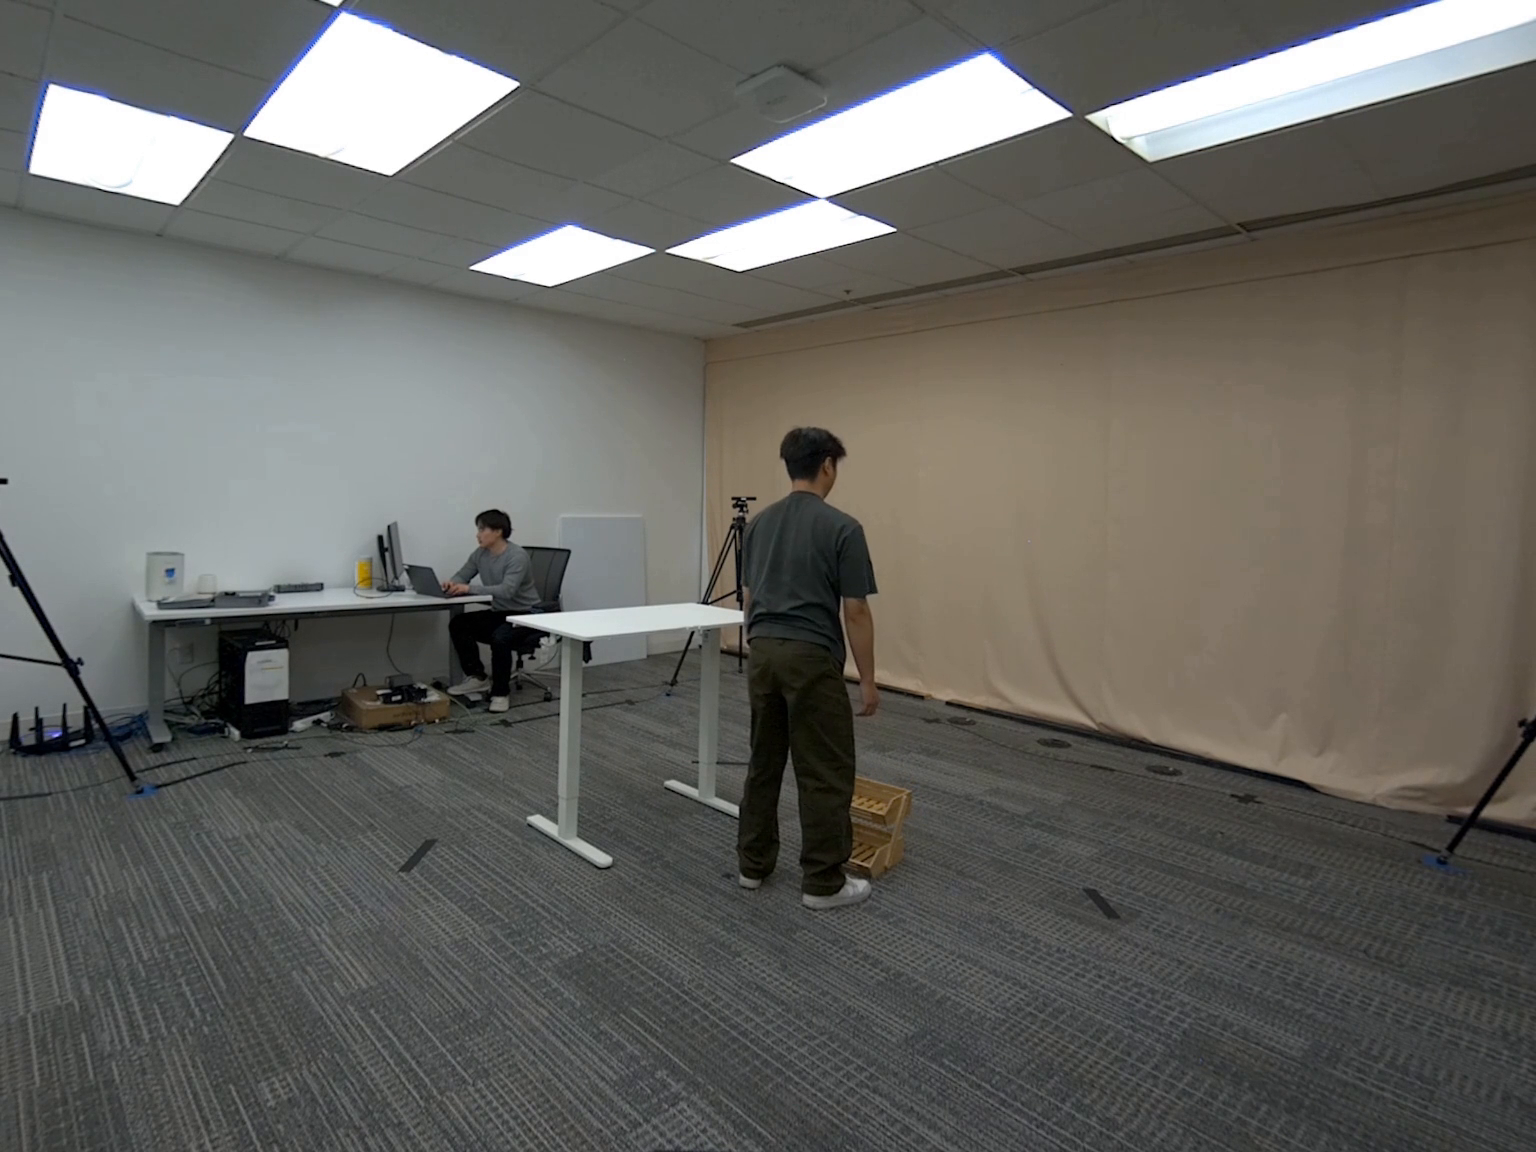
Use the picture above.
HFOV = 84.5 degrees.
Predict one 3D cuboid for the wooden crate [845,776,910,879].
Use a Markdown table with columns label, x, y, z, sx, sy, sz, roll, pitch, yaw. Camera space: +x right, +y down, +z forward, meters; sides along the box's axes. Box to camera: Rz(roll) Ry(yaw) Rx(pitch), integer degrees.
| label | x | y | z | sx | sy | sz | roll | pitch | yaw |
| --- | --- | --- | --- | --- | --- | --- | --- | --- | --- |
| wooden crate | 0.340 | 0.963 | 3.298 | 0.332 | 0.273 | 0.295 | 5 | 4 | 38 |
